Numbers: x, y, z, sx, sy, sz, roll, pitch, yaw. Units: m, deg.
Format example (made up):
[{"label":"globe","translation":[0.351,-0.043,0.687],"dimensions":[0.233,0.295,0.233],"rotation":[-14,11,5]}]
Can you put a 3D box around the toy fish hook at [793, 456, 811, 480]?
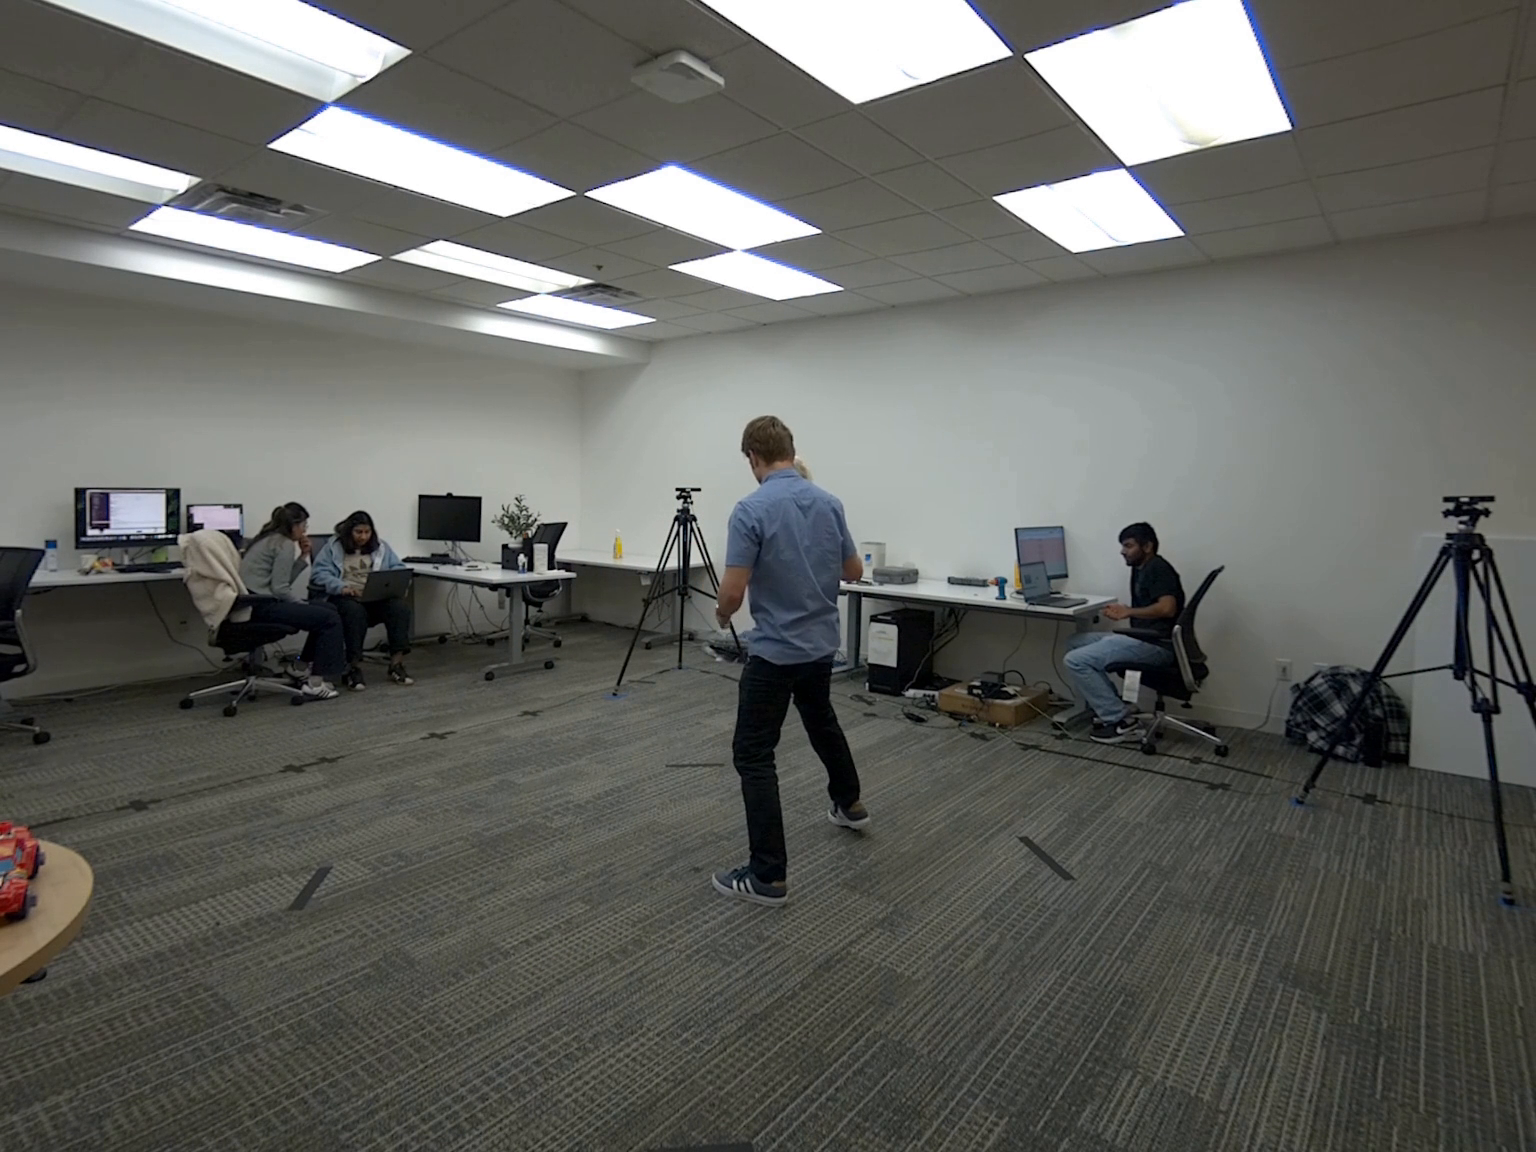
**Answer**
[{"label":"toy fish hook","translation":[0.102,-0.242,3.546],"dimensions":[0.047,0.509,0.230],"rotation":[-2,-7,-44]}]
